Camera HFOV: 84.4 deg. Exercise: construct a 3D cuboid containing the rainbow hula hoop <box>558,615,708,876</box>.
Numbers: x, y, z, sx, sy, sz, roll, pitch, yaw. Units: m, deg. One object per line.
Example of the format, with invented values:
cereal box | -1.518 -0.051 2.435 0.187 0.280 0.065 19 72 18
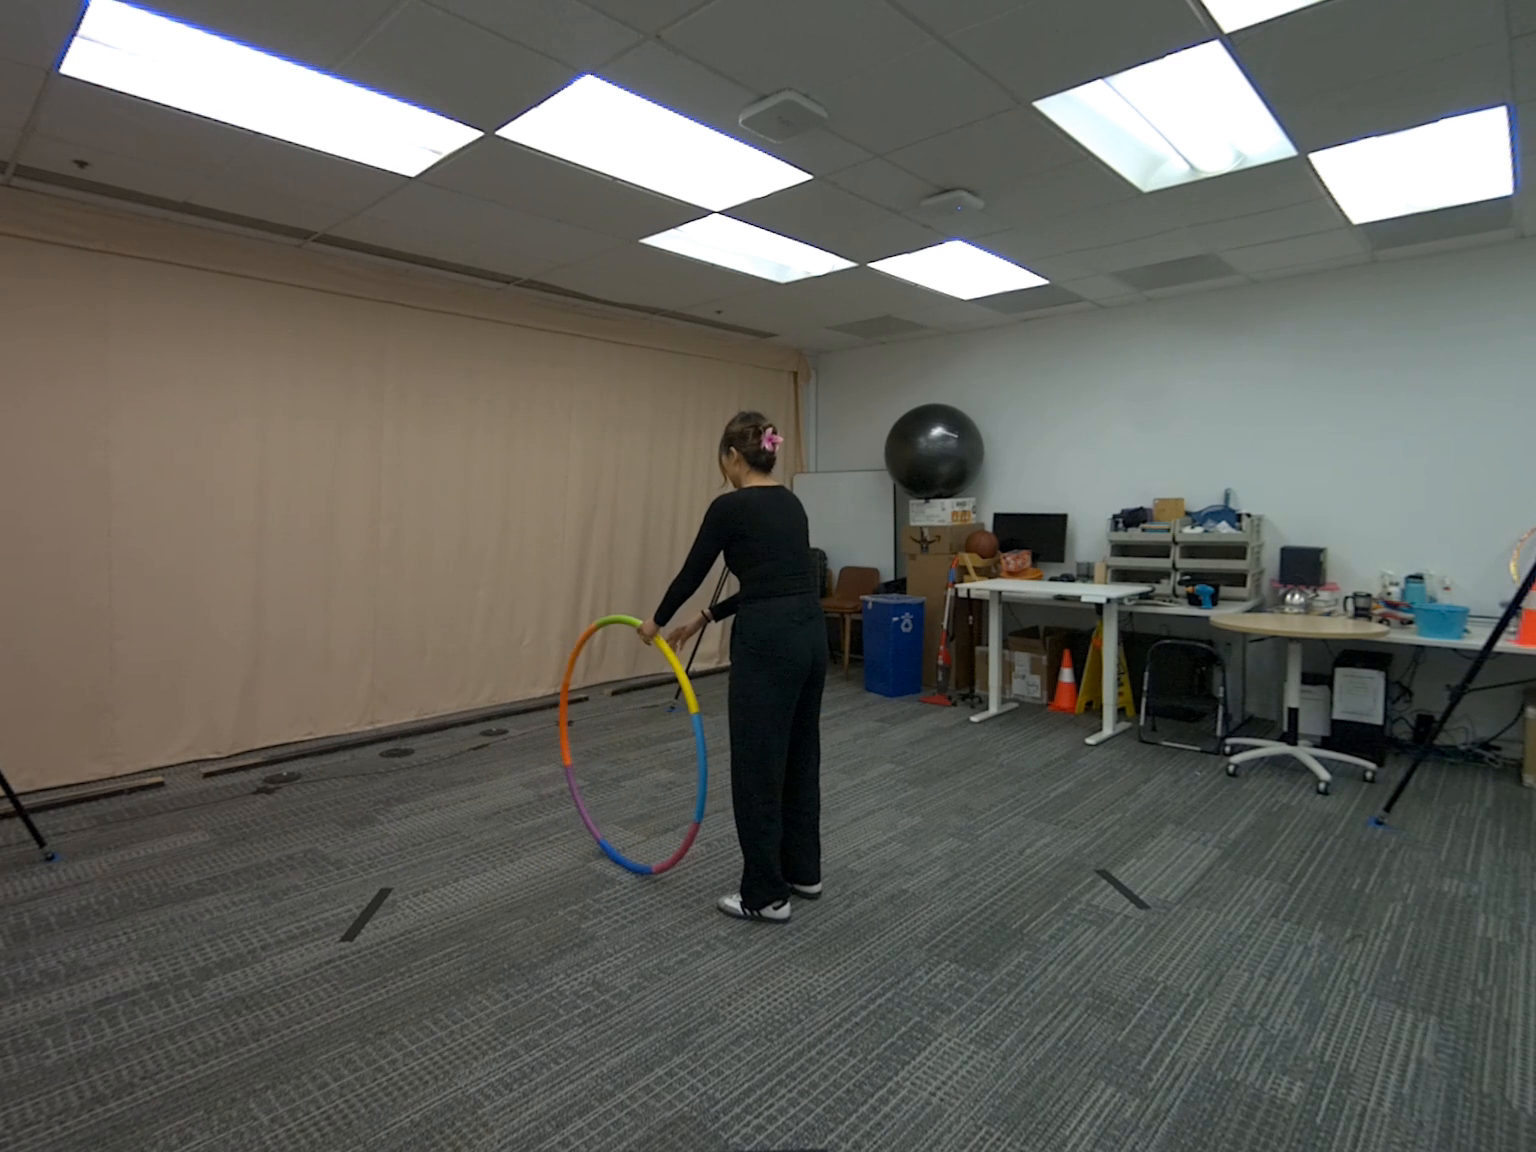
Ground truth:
rainbow hula hoop | -0.542 0.644 3.233 0.034 0.977 1.011 -1 4 -41
